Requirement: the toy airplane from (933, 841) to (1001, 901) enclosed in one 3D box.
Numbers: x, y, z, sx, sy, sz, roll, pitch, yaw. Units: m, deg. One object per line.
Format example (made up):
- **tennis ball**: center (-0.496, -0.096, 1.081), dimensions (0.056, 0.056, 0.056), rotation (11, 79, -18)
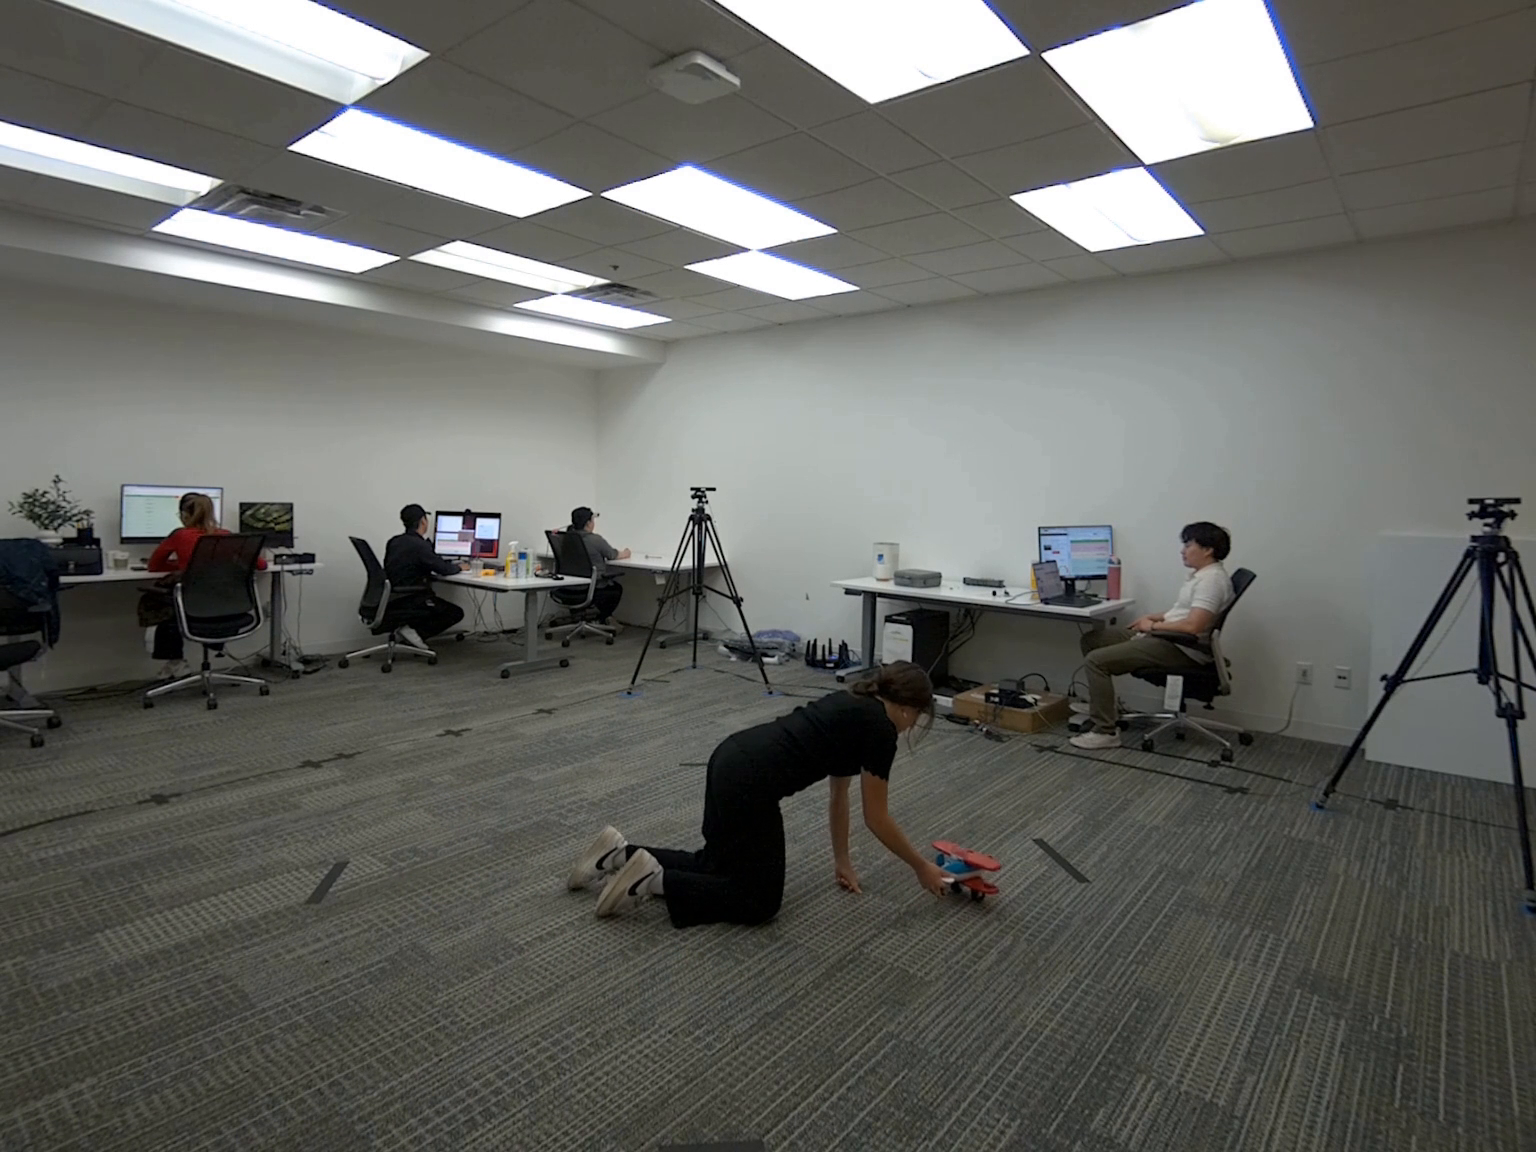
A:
- **toy airplane**: center (0.657, 1.015, 2.888), dimensions (0.258, 0.157, 0.251), rotation (13, -11, 21)
